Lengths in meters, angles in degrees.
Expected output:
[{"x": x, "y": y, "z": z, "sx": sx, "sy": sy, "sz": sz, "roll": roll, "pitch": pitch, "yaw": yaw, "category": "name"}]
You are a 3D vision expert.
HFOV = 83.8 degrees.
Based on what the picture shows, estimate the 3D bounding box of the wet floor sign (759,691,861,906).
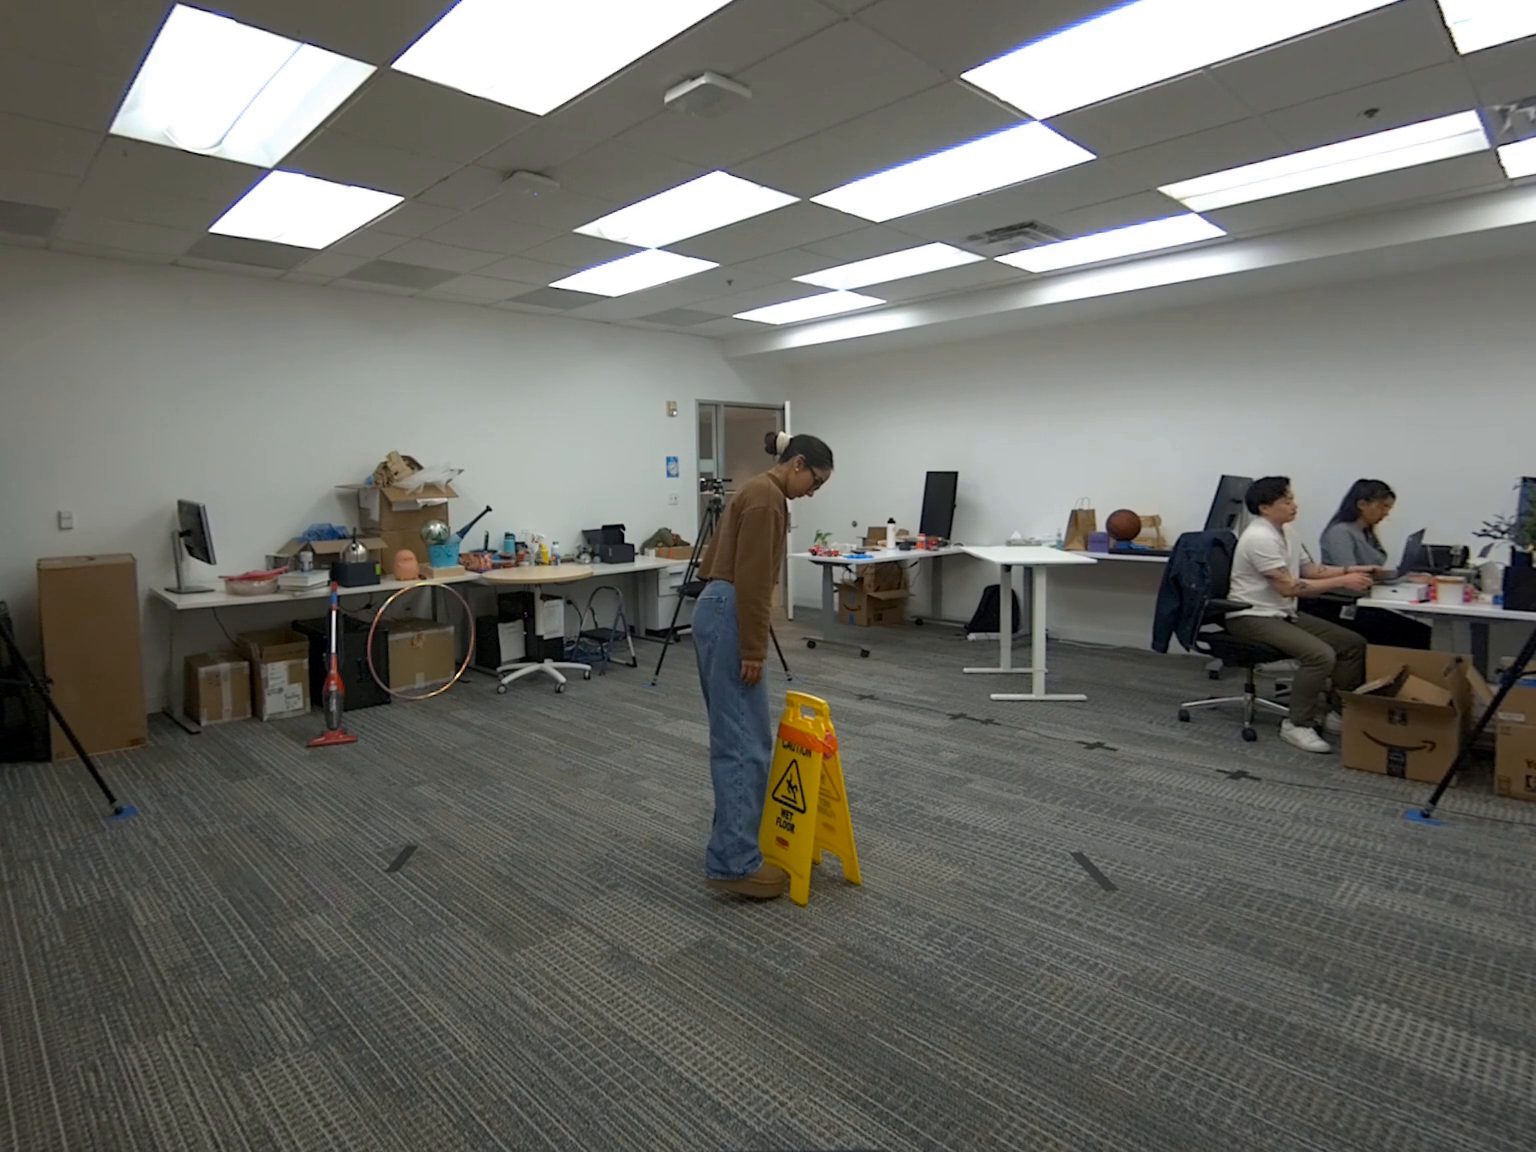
[{"x": 0.130, "y": 0.734, "z": 2.943, "sx": 0.282, "sy": 0.644, "sz": 0.290, "roll": -3, "pitch": 4, "yaw": -38, "category": "wet floor sign"}]
